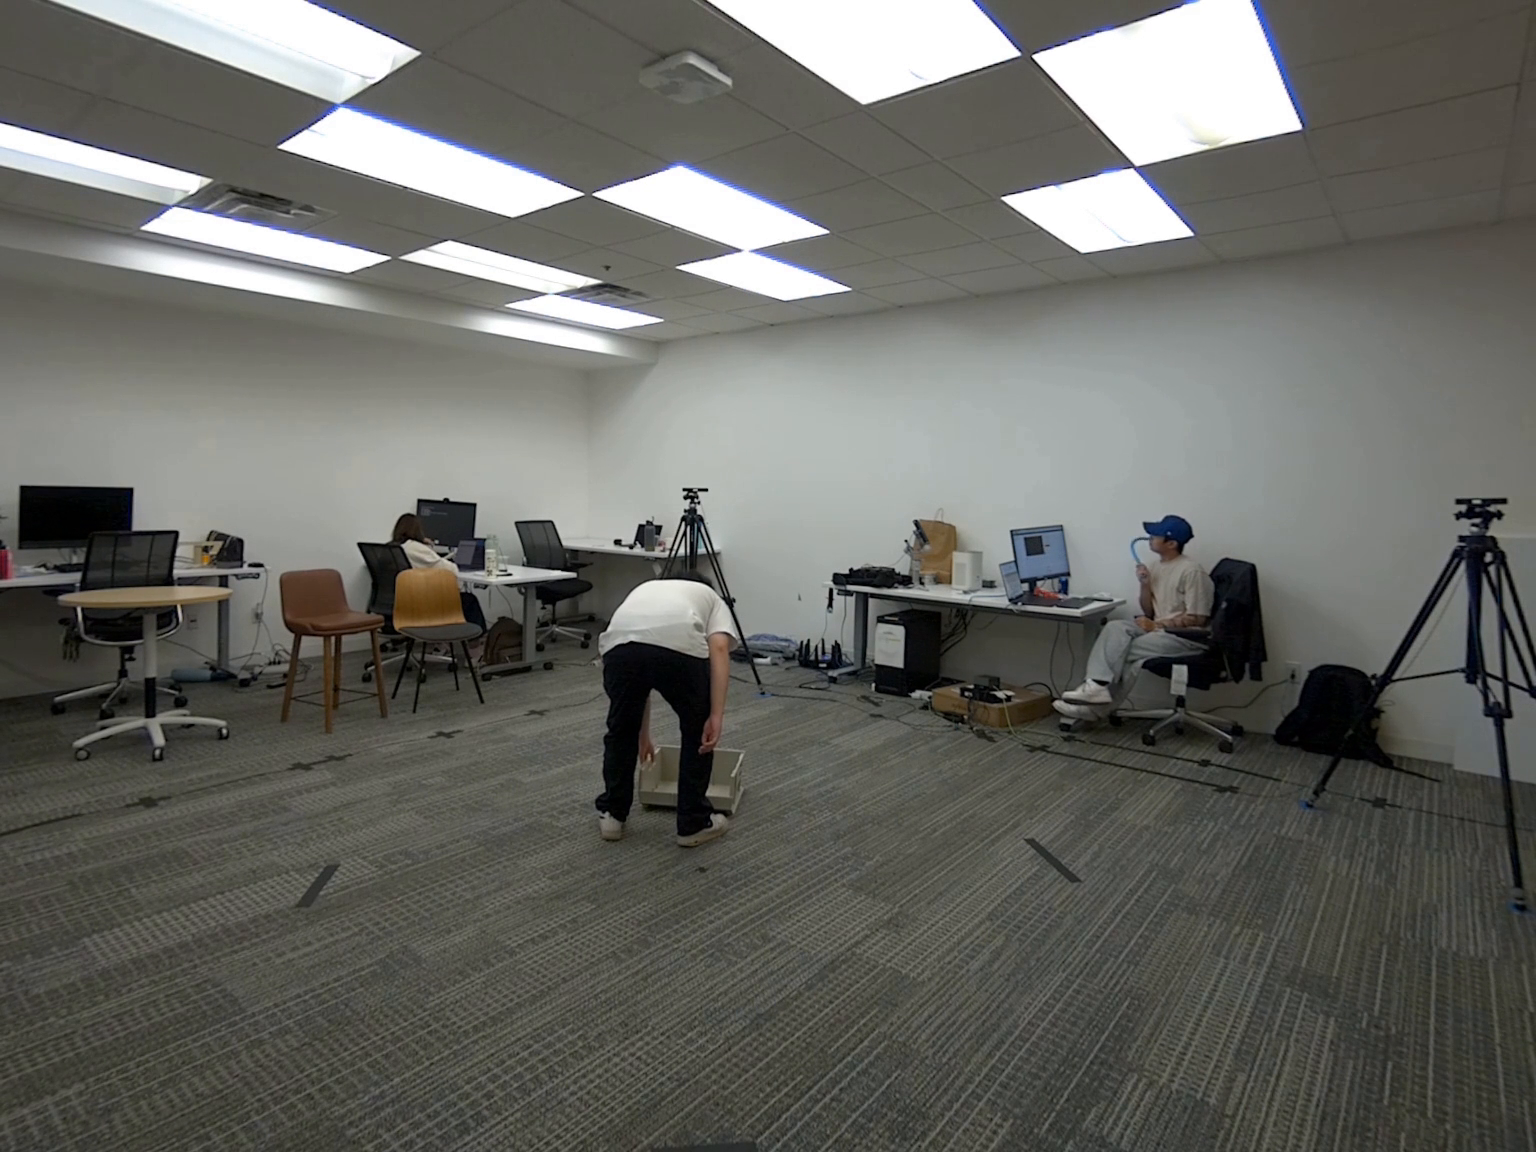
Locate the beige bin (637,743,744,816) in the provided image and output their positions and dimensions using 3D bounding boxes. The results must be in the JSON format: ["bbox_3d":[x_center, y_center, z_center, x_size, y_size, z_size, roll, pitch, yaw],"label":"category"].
[{"bbox_3d":[-0.345,0.909,3.809,0.426,0.188,0.375,1,4,8],"label":"beige bin"}]
